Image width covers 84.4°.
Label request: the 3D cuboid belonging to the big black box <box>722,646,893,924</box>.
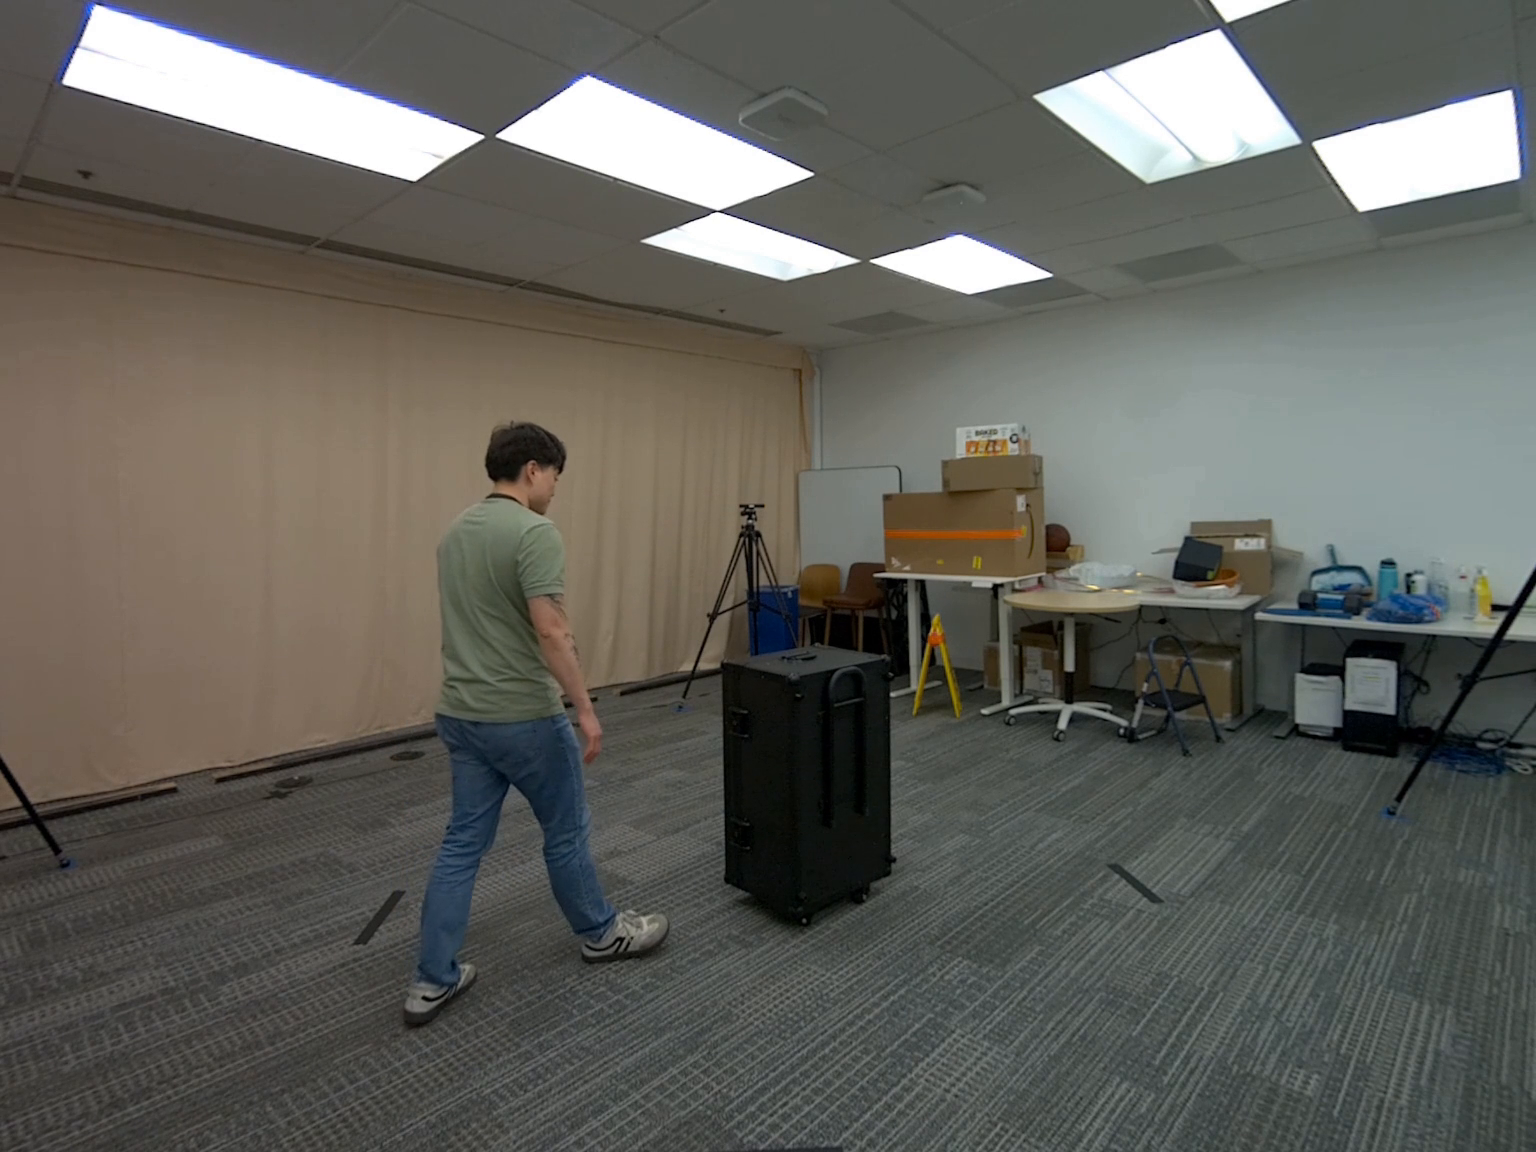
[{"bbox_3d":[0.157,0.713,2.945,0.505,0.859,0.409,-4,5,-42],"label":"big black box"}]
